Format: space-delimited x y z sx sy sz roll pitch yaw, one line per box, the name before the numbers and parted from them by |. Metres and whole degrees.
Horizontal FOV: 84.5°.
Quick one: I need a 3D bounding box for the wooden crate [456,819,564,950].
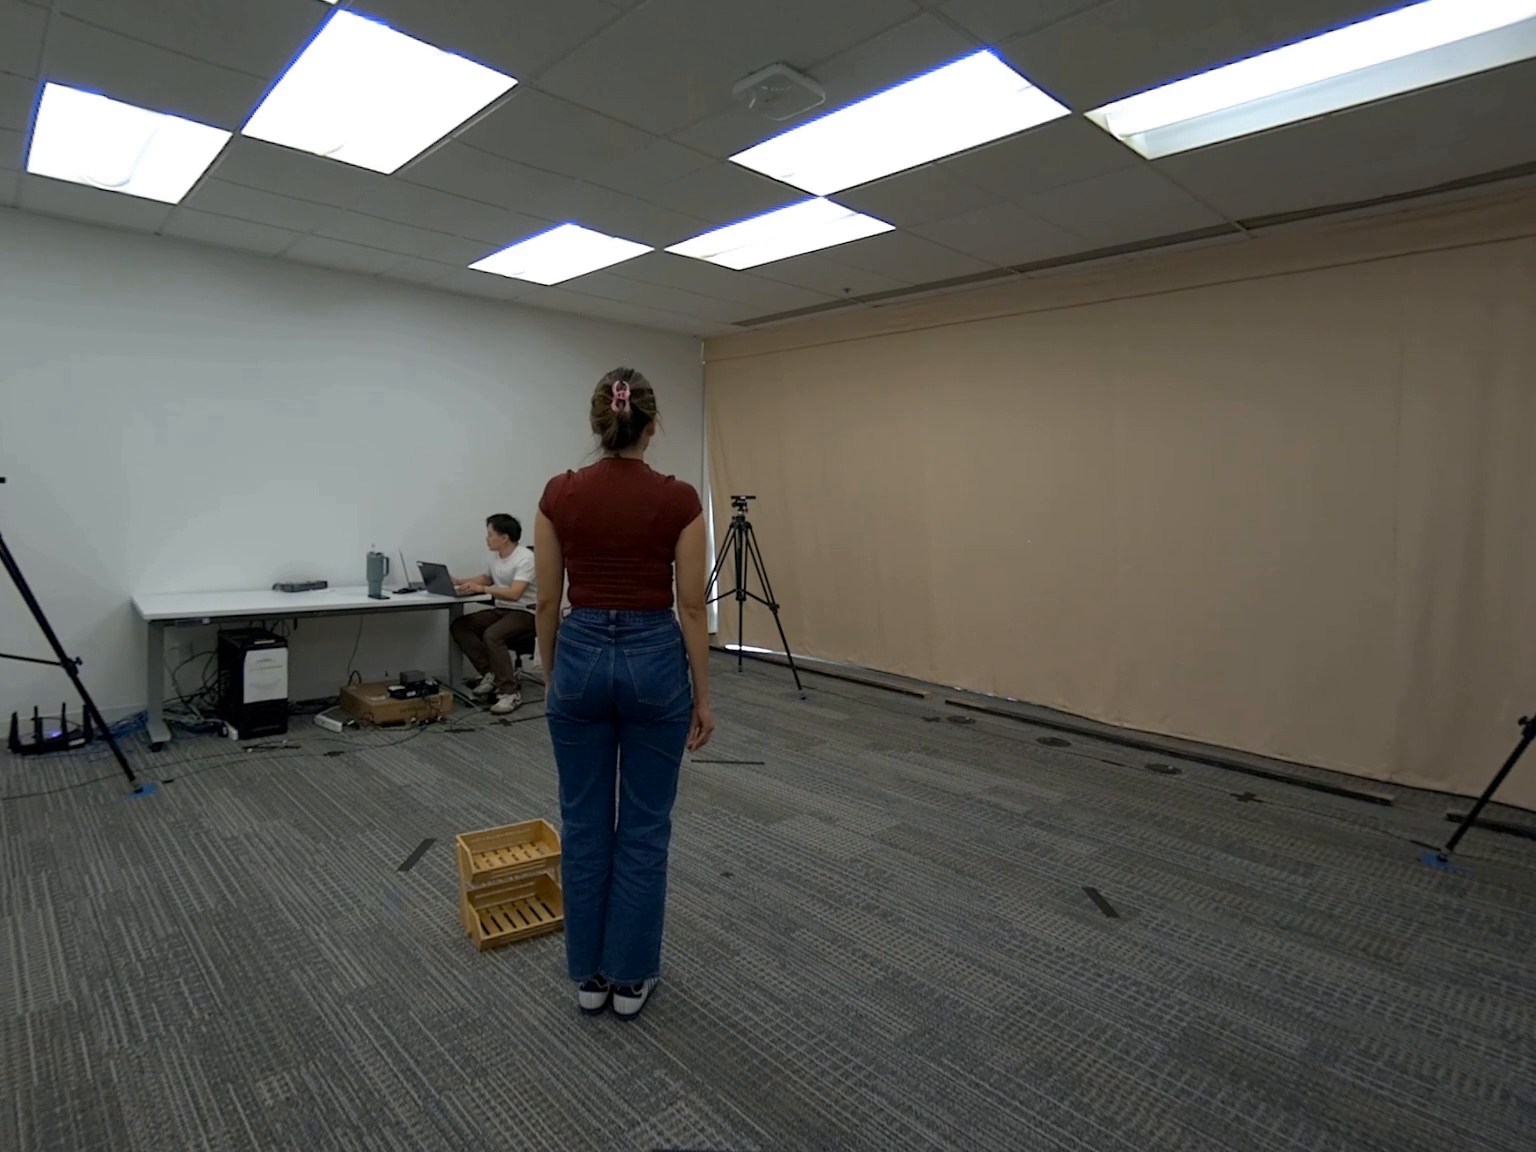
wooden crate | -0.828 0.990 2.726 0.317 0.272 0.309 -1 5 -35
